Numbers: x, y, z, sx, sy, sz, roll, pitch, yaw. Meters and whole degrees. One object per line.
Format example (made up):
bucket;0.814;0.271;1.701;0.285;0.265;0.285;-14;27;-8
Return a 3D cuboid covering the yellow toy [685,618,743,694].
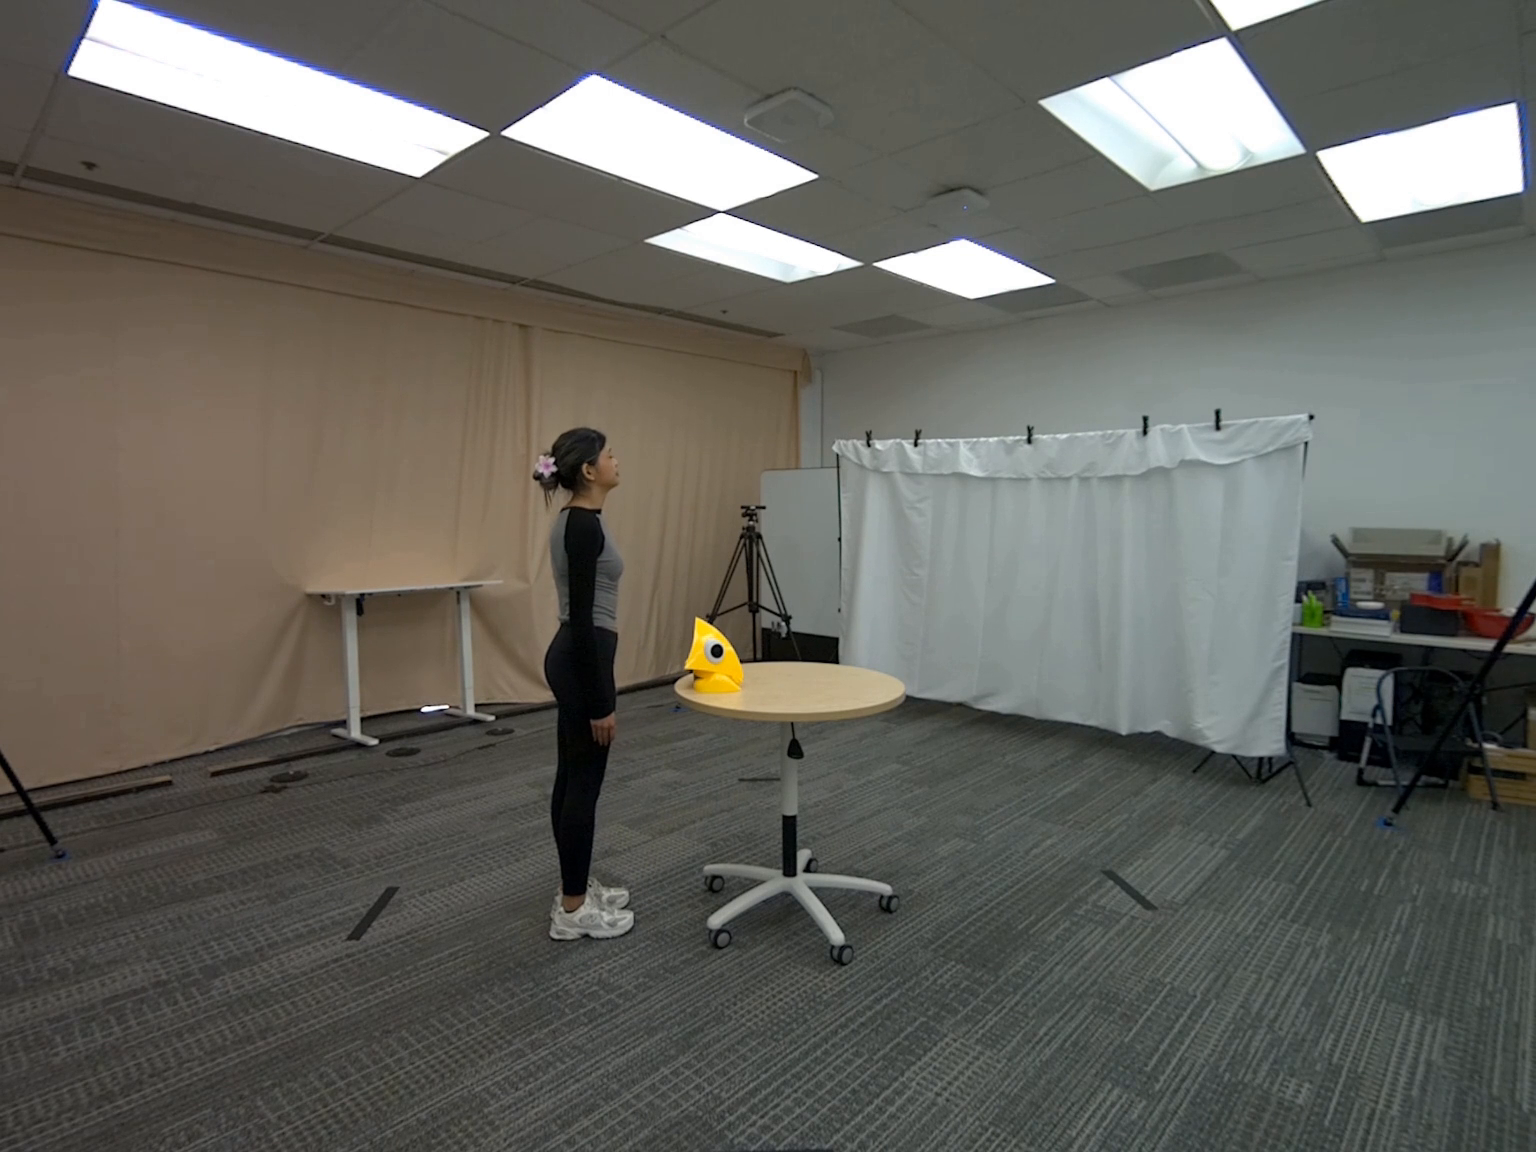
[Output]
yellow toy;-0.175;0.252;2.802;0.194;0.230;0.204;0;4;2
